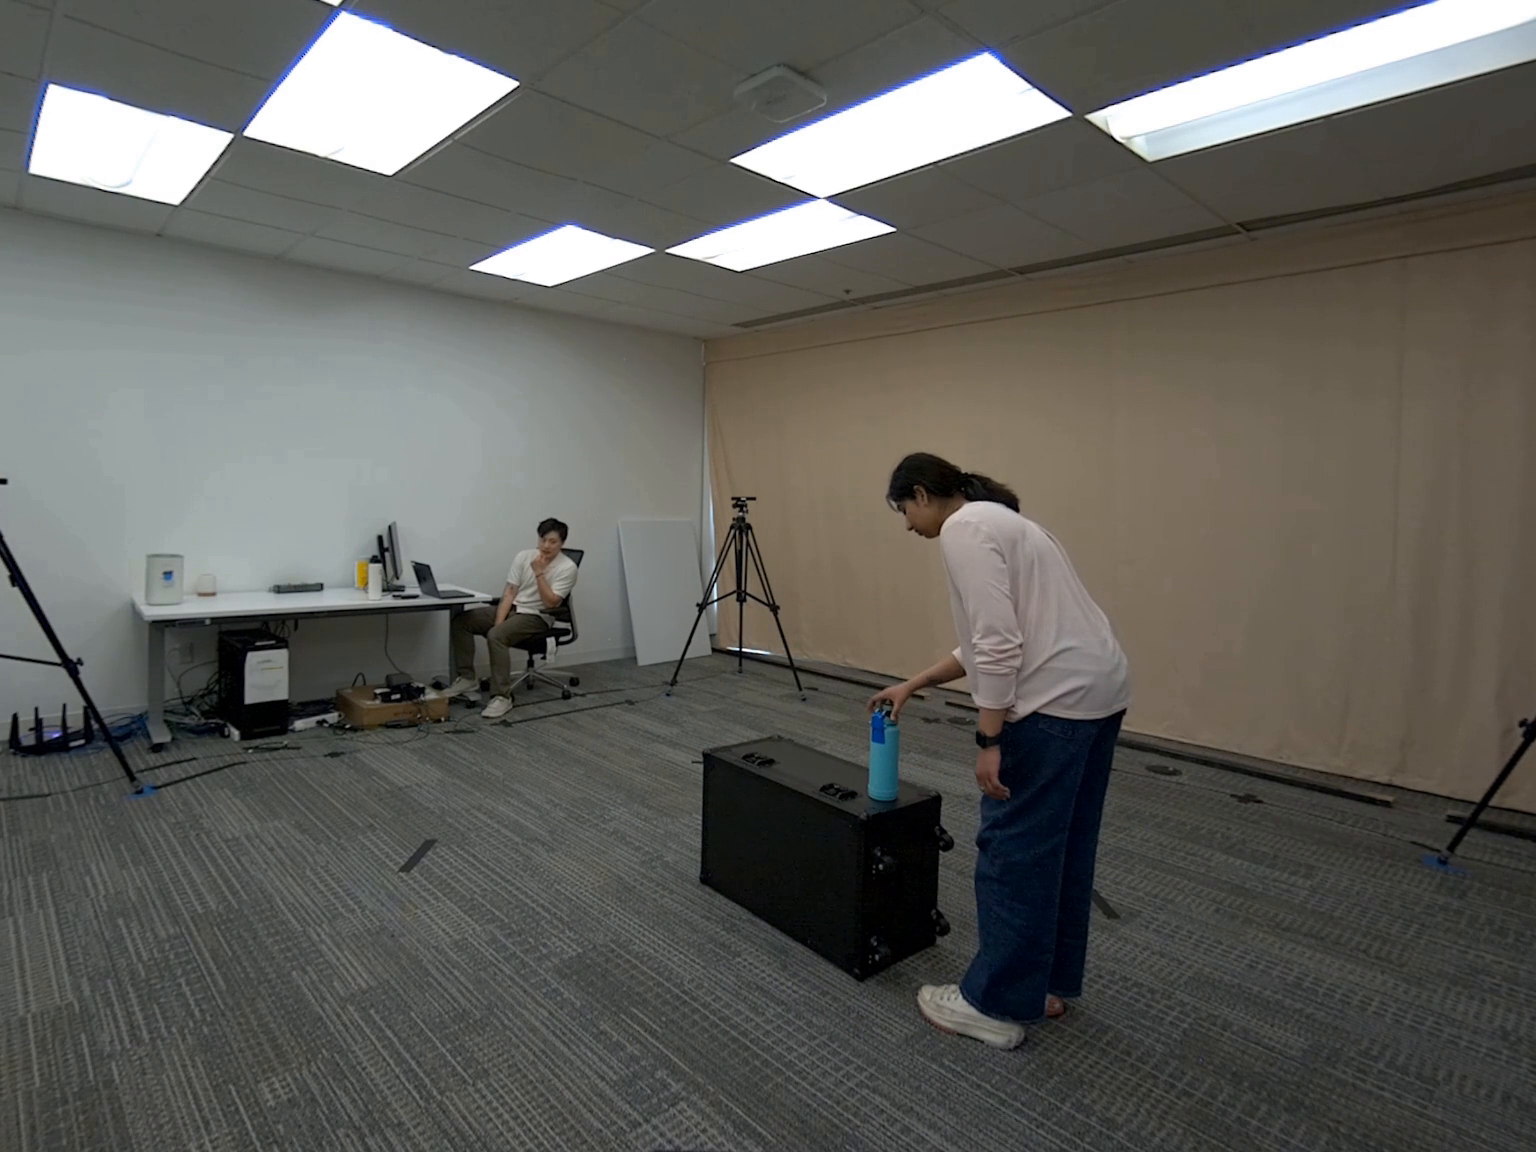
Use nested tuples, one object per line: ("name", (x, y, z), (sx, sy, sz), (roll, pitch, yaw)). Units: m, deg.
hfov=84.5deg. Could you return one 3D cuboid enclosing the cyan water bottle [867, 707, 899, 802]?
("cyan water bottle", (0.357, 0.546, 2.596), (0.092, 0.282, 0.092), (2, 4, -2))
